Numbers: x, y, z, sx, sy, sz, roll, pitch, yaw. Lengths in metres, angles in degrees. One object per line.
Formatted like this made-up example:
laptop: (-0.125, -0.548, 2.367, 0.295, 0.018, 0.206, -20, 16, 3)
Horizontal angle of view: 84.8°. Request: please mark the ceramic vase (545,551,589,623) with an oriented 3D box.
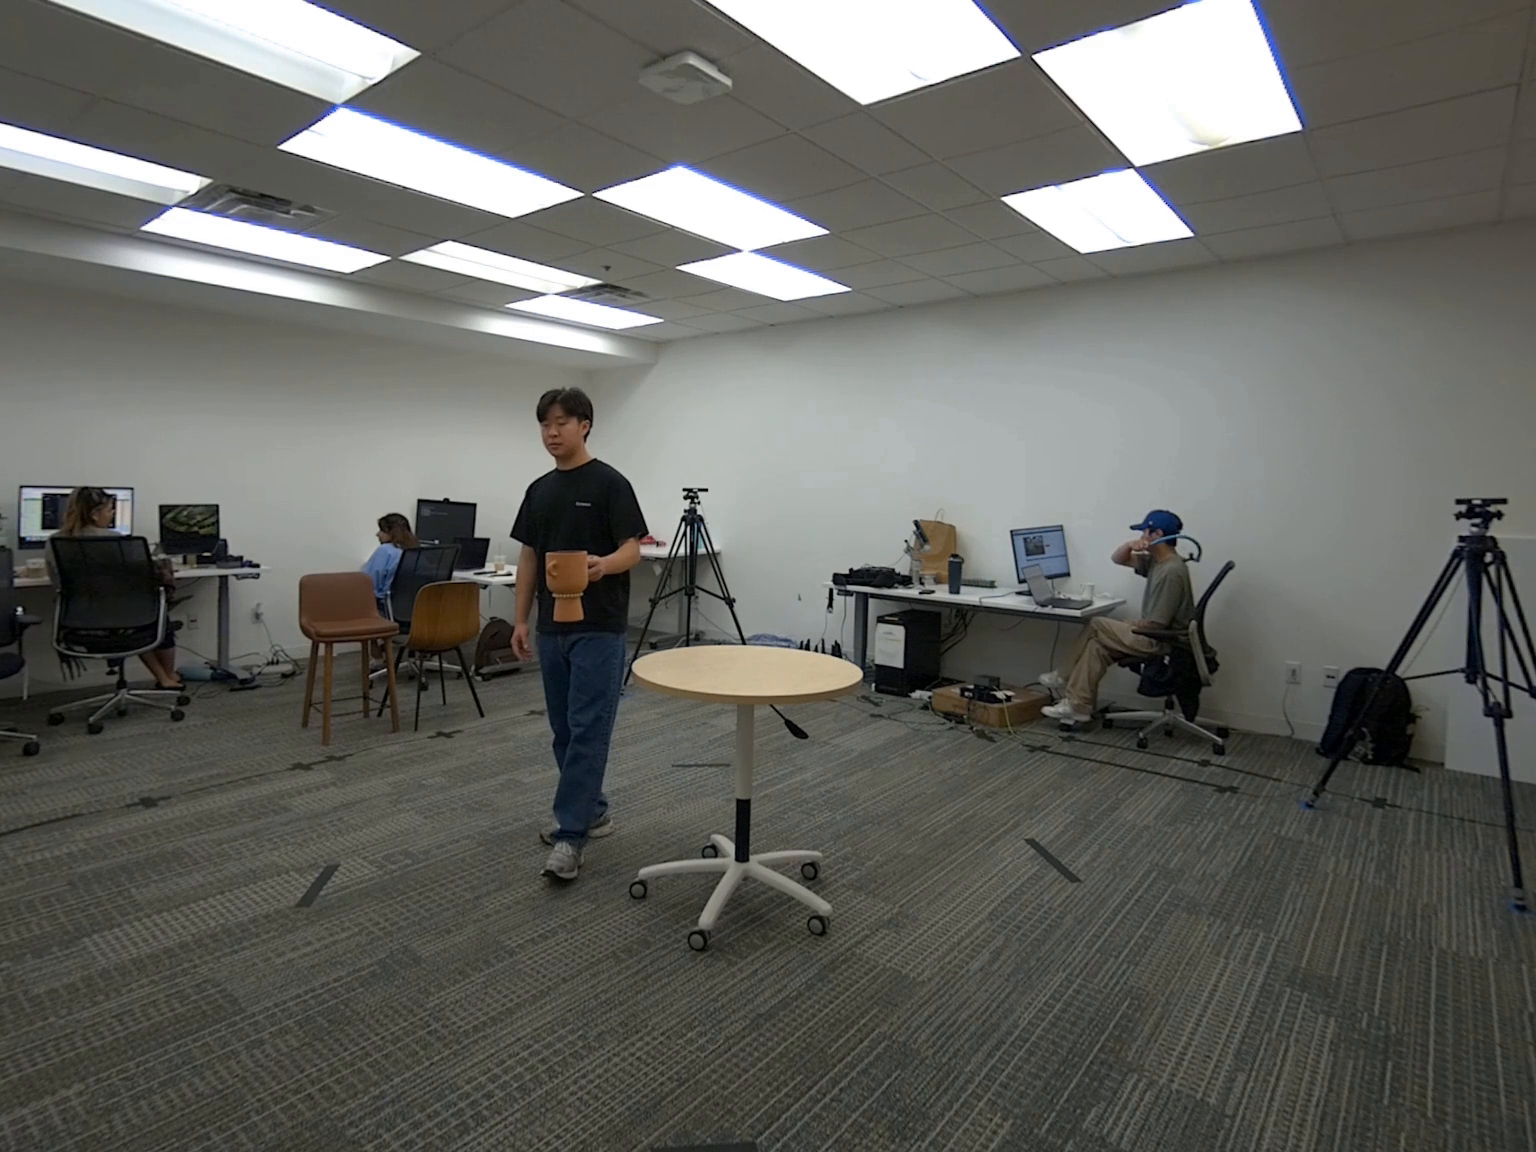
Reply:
ceramic vase: (-0.665, 0.028, 2.776, 0.155, 0.219, 0.138, -3, 4, -27)
